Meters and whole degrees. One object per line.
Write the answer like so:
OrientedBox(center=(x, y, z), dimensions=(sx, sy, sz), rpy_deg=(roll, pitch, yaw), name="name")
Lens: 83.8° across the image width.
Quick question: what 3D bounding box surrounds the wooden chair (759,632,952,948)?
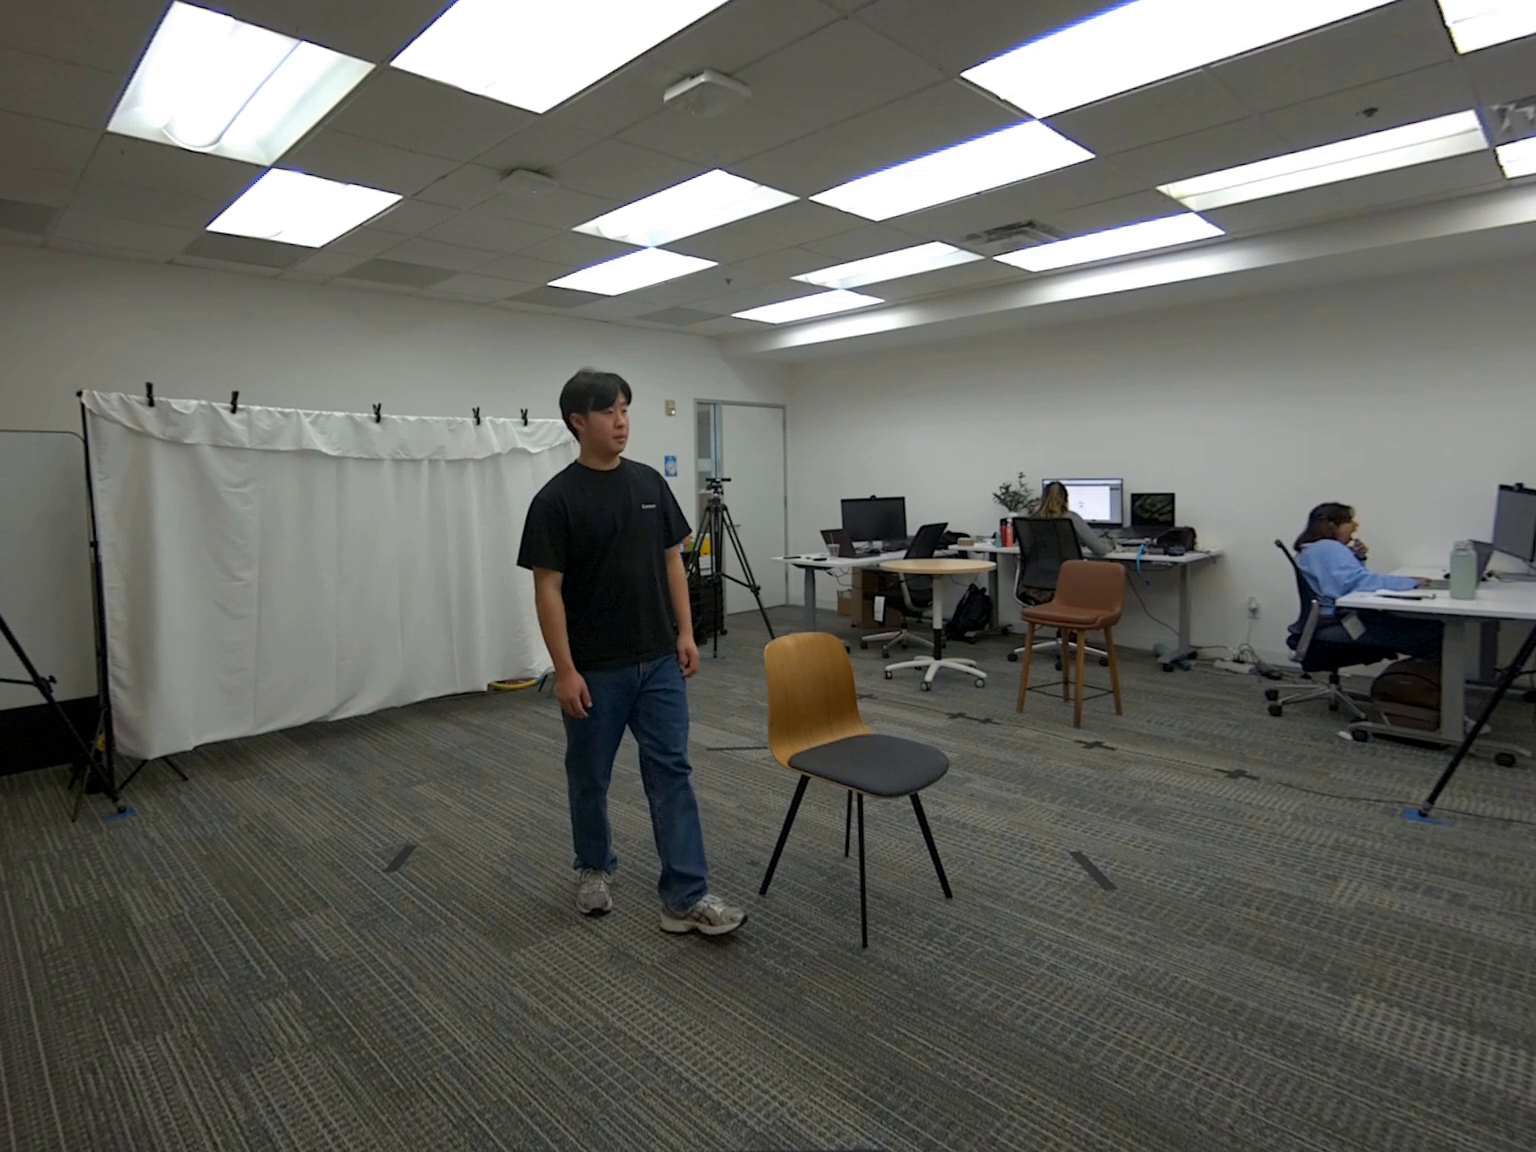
OrientedBox(center=(0.293, 0.644, 2.808), dimensions=(0.465, 0.876, 0.538), rpy_deg=(-4, 2, -43), name="wooden chair")
